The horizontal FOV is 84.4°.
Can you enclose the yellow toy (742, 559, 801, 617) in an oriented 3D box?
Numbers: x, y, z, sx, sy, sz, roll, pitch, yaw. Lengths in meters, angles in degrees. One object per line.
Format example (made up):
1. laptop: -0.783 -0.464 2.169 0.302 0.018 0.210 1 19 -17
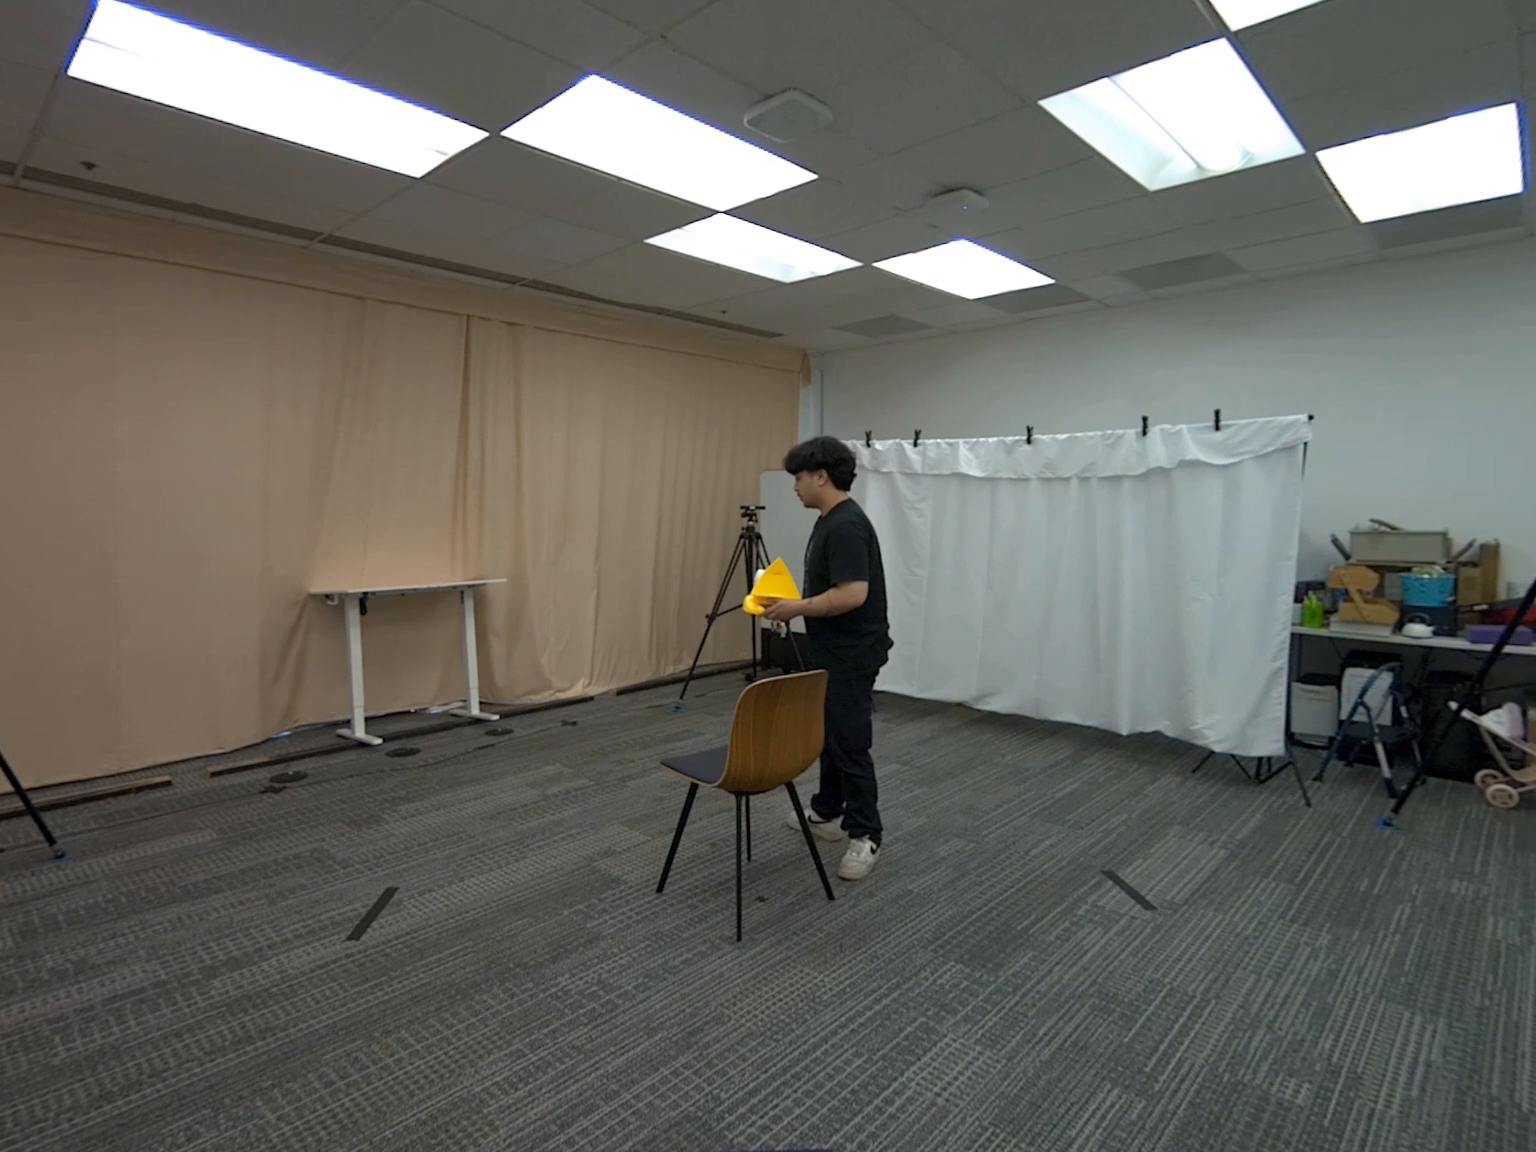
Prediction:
1. yellow toy: 0.019 0.032 3.335 0.202 0.230 0.196 5 8 -13
